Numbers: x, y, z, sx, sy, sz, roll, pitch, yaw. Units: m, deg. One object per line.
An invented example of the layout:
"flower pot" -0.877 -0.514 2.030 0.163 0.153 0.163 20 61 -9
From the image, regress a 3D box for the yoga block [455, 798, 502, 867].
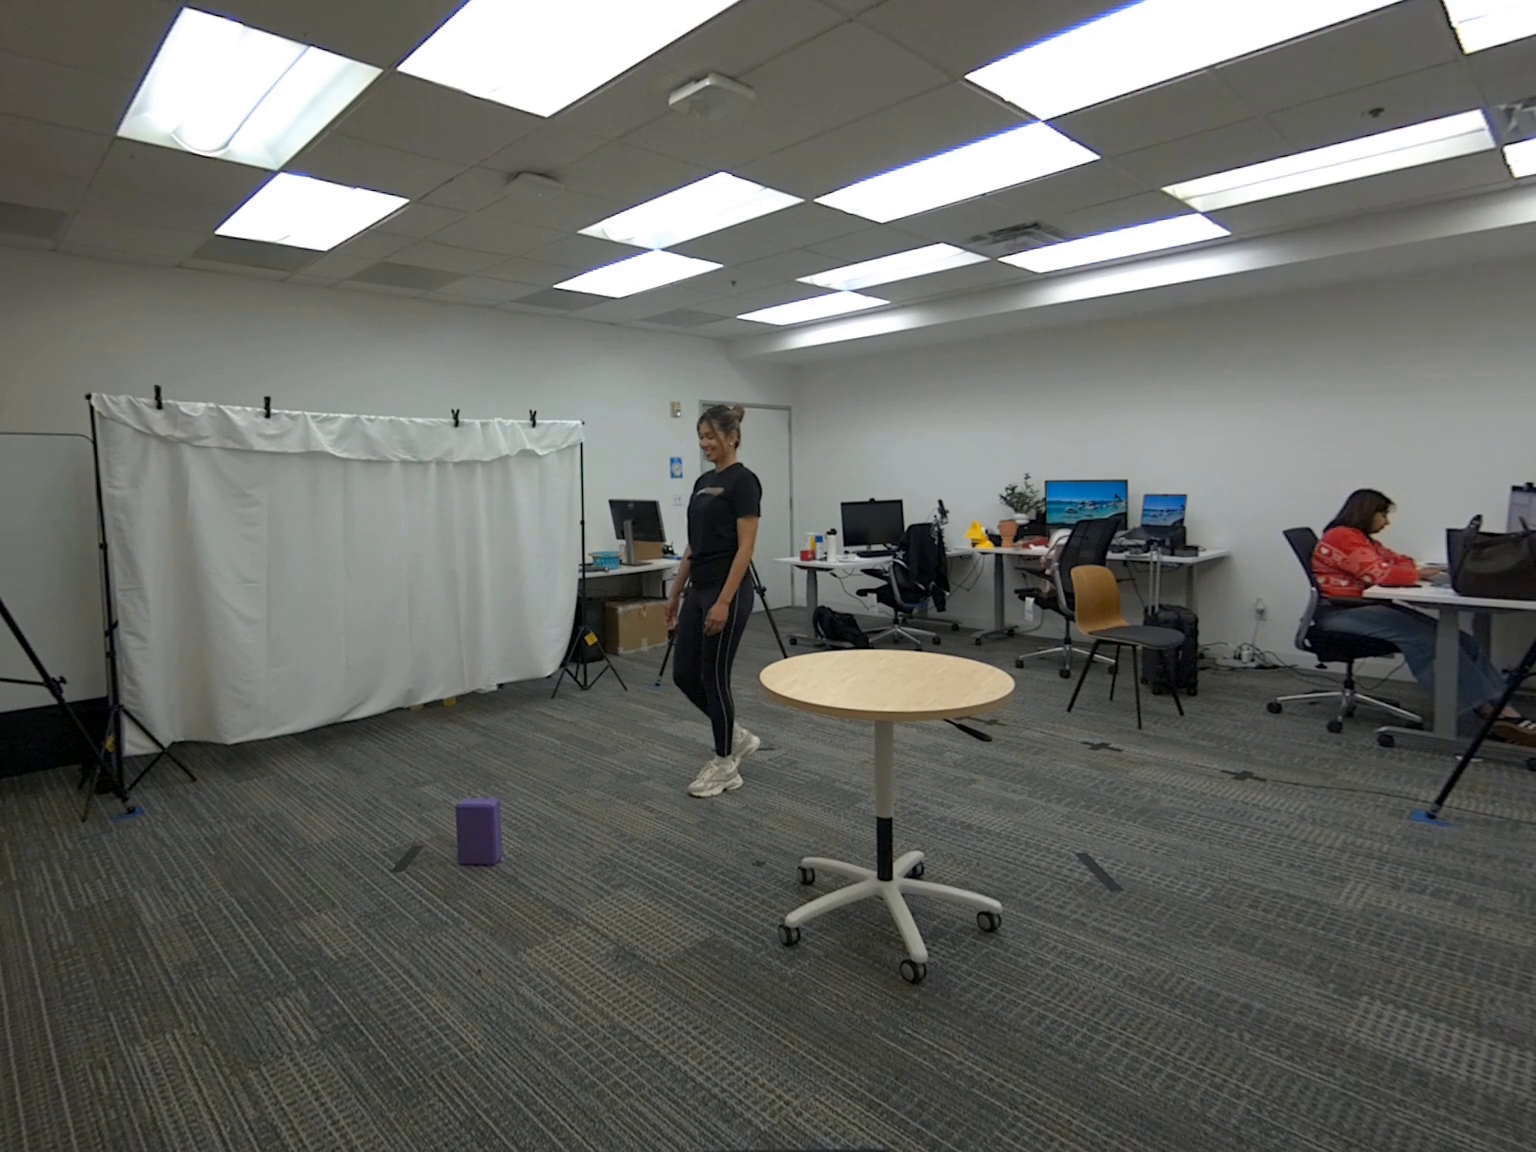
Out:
"yoga block" -1.078 0.952 3.168 0.150 0.228 0.076 -4 4 6
